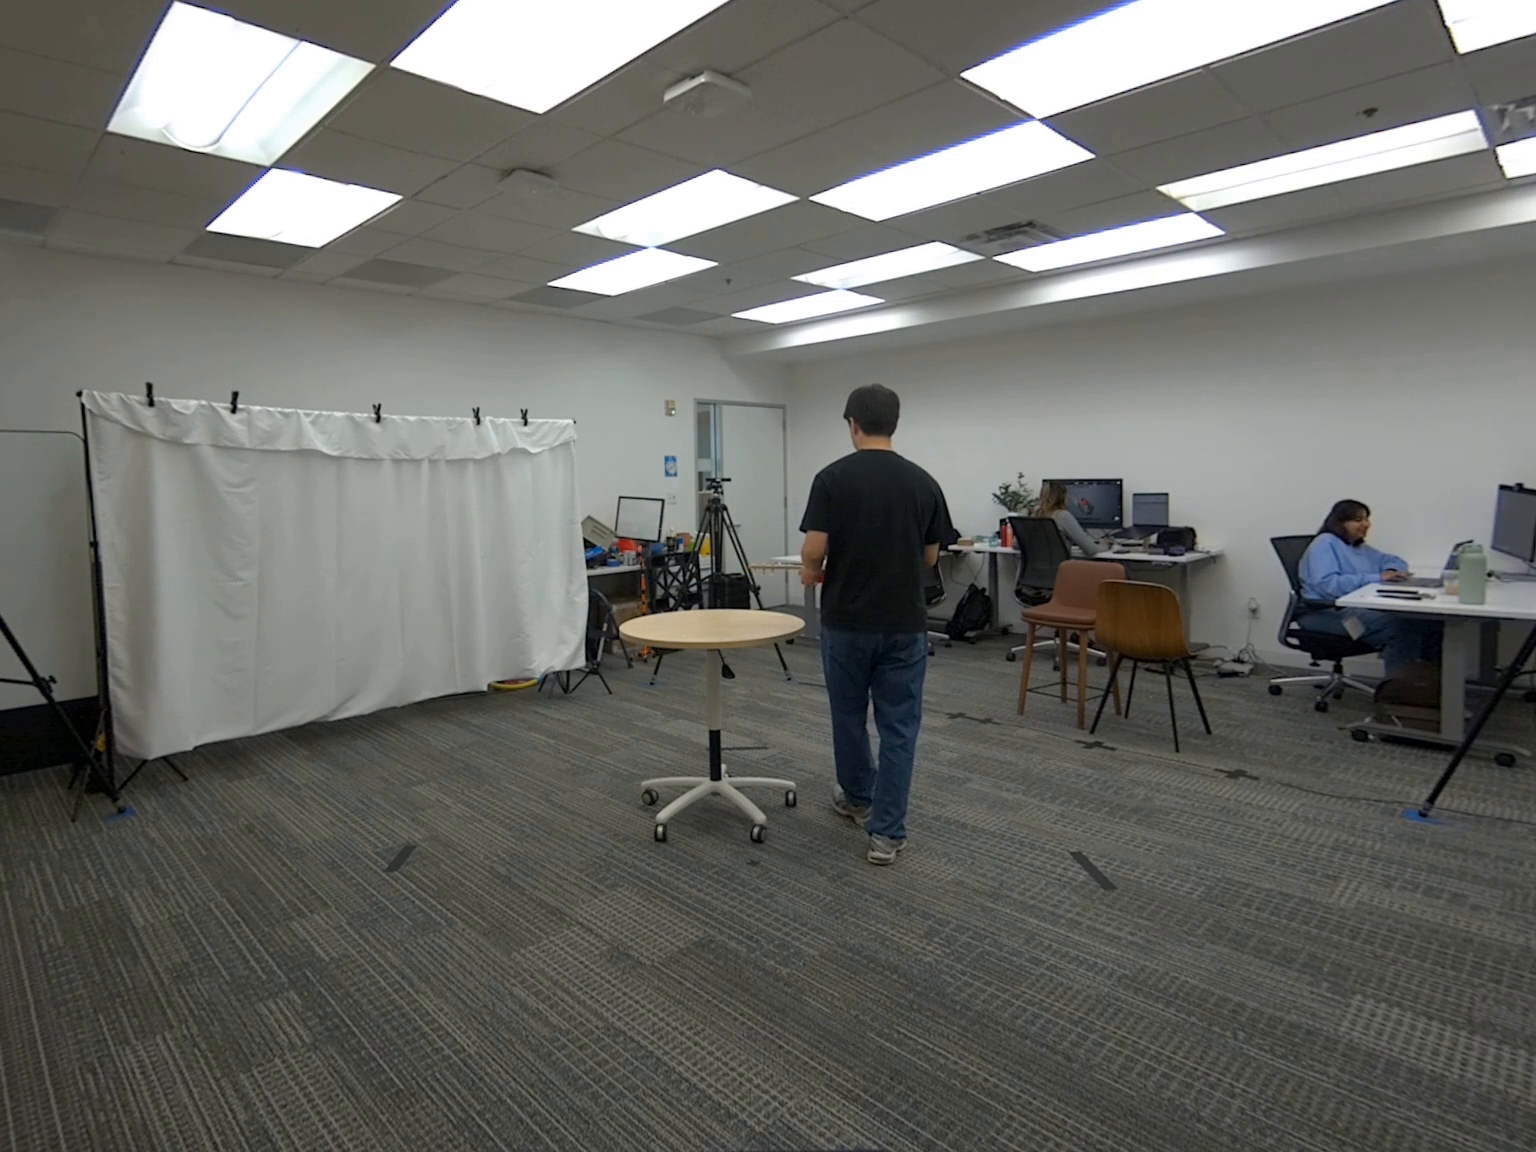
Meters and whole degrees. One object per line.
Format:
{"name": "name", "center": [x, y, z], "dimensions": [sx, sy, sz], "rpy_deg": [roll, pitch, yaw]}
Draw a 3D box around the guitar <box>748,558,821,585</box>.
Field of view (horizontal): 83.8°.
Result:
{"name": "guitar", "center": [0.183, -0.021, 3.556], "dimensions": [0.507, 0.070, 0.191], "rpy_deg": [1, 10, 19]}
